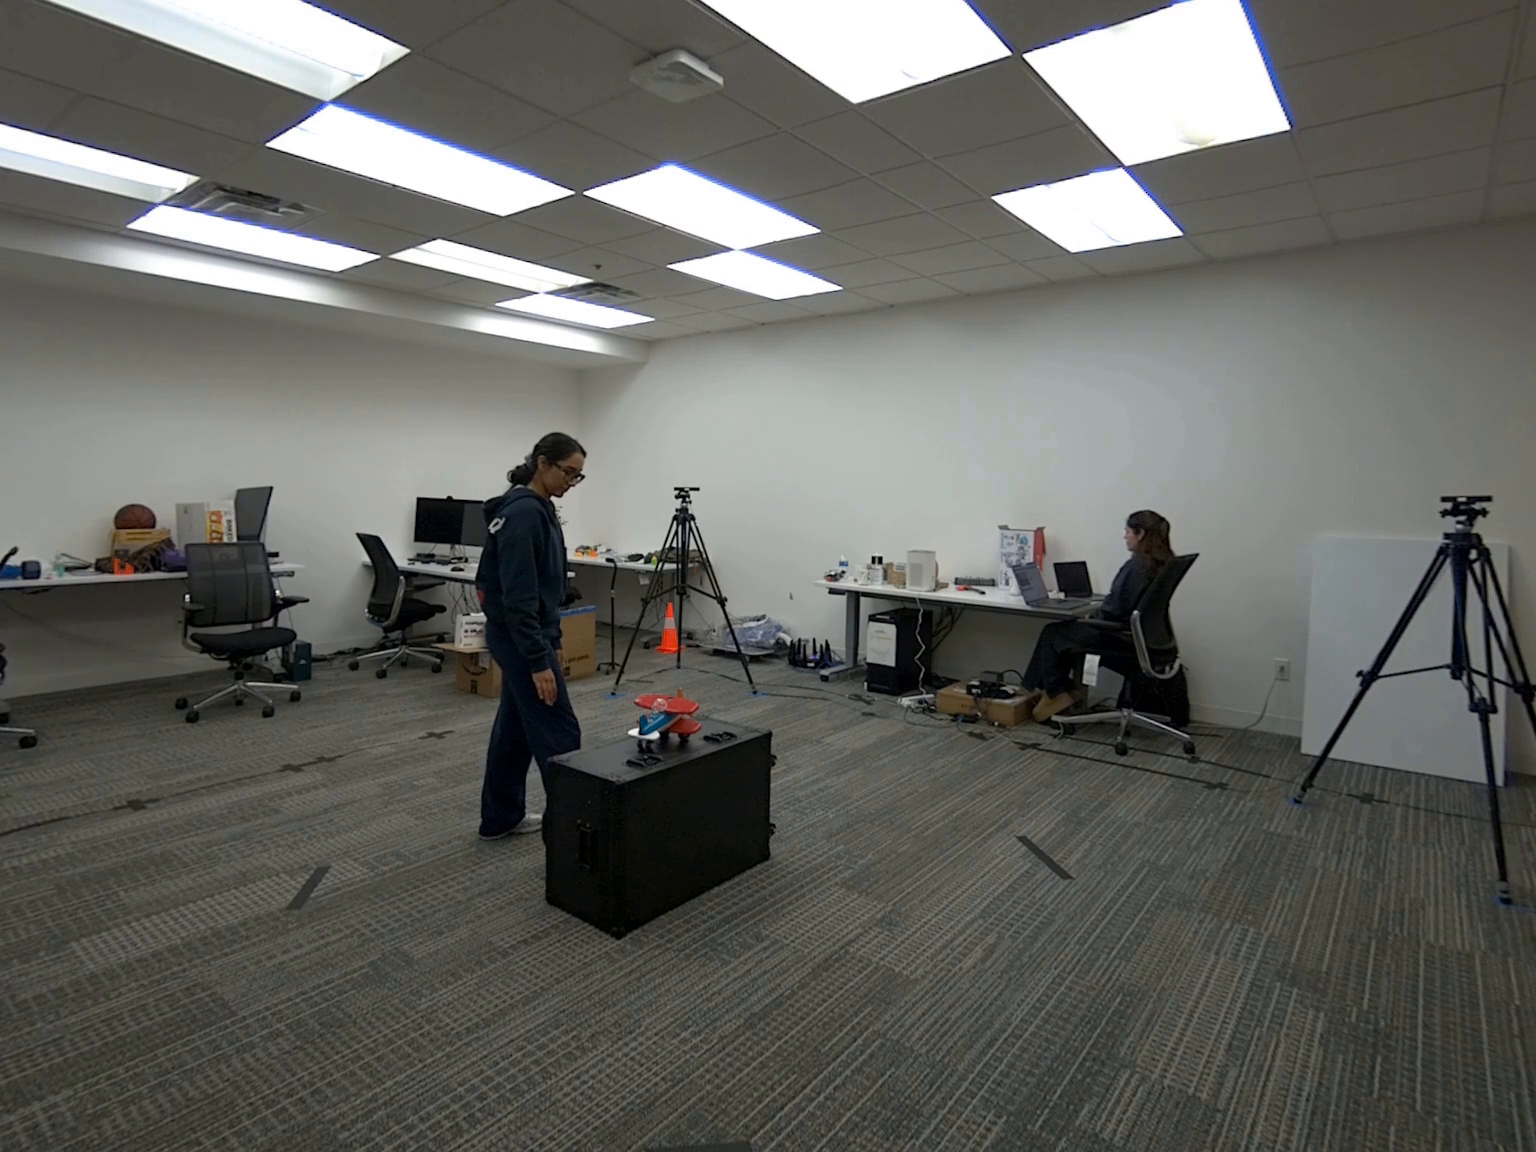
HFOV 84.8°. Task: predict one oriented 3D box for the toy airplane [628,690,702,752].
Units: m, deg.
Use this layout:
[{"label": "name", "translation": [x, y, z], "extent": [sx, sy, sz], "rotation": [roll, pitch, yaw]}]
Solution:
[{"label": "toy airplane", "translation": [-0.361, 0.514, 3.005], "extent": [0.252, 0.156, 0.259], "rotation": [1, 5, 1]}]
